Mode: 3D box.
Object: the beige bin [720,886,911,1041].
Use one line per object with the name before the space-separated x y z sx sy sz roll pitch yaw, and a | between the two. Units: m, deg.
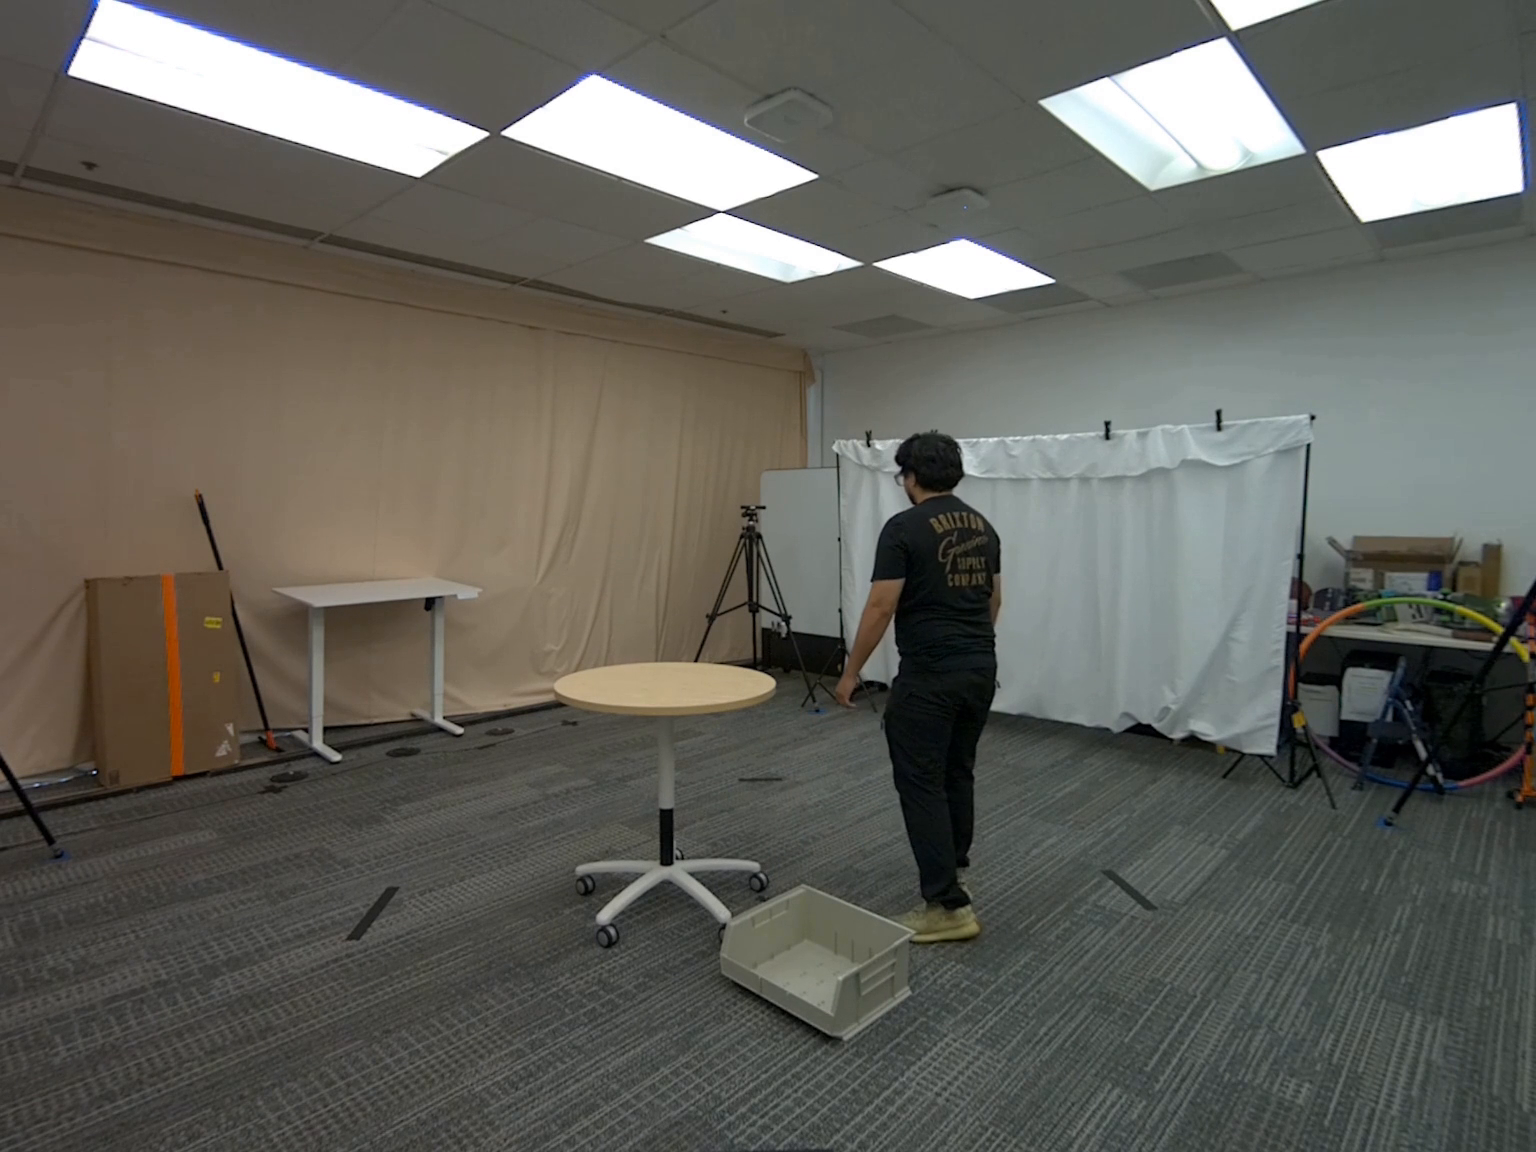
beige bin | 0.141 1.096 2.425 0.436 0.188 0.365 4 5 44
